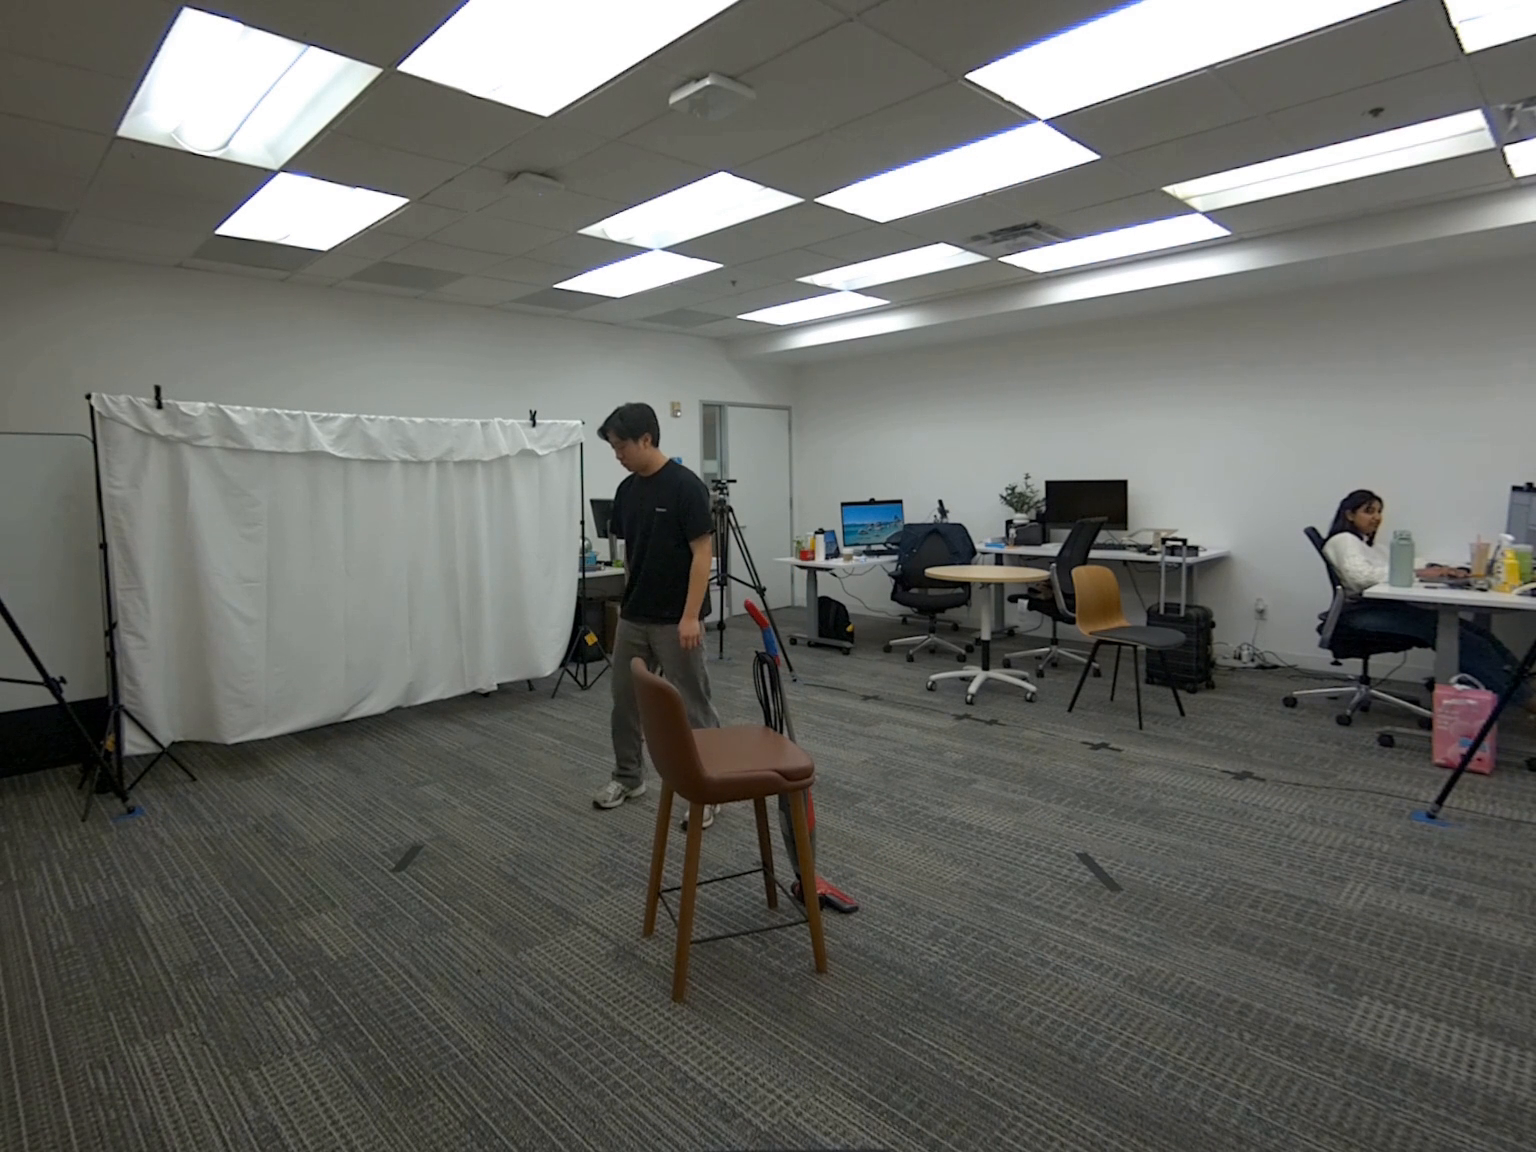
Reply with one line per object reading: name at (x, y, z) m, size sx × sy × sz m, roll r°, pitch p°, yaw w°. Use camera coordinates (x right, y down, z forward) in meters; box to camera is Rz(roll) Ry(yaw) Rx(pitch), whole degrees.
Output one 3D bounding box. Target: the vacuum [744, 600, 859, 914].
vacuum at (0.052, 0.578, 2.734) m, size 0.141 × 1.036 × 0.260 m, roll -19°, pitch 14°, yaw -32°
